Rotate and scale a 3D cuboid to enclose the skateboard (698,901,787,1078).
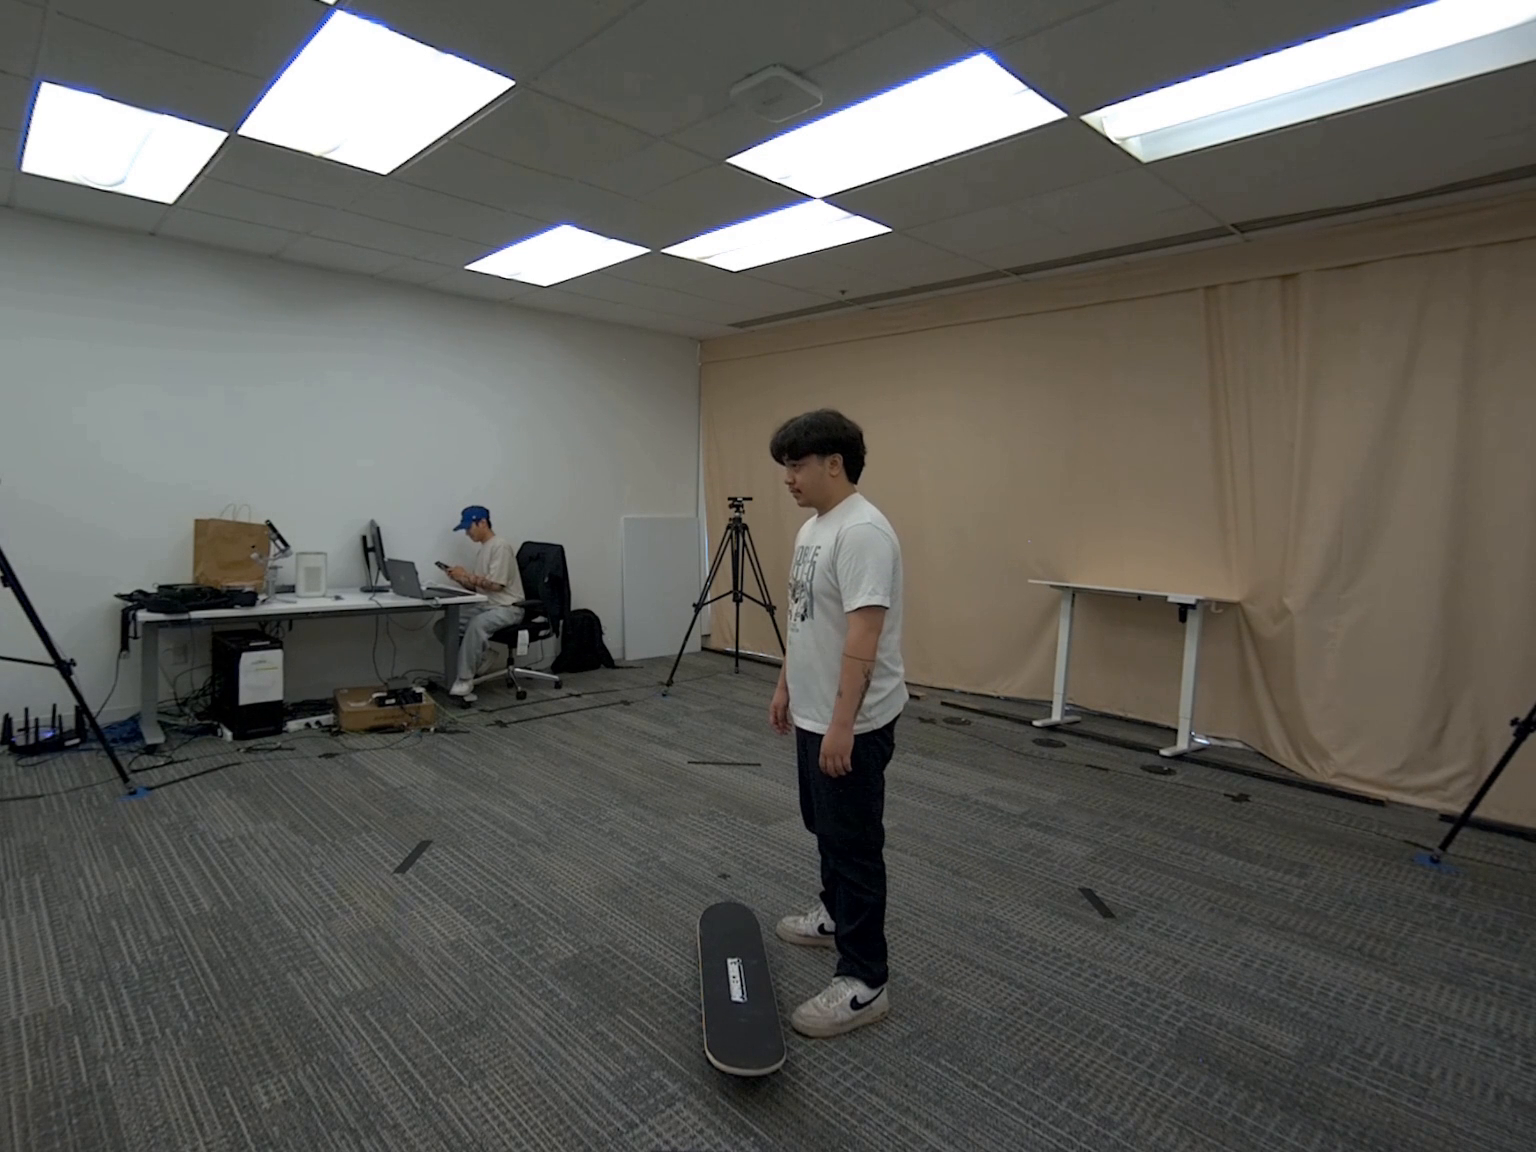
[{"bbox_3d":[-0.094,1.126,2.291,0.192,0.110,0.792,1,5,-8],"label":"skateboard"}]
